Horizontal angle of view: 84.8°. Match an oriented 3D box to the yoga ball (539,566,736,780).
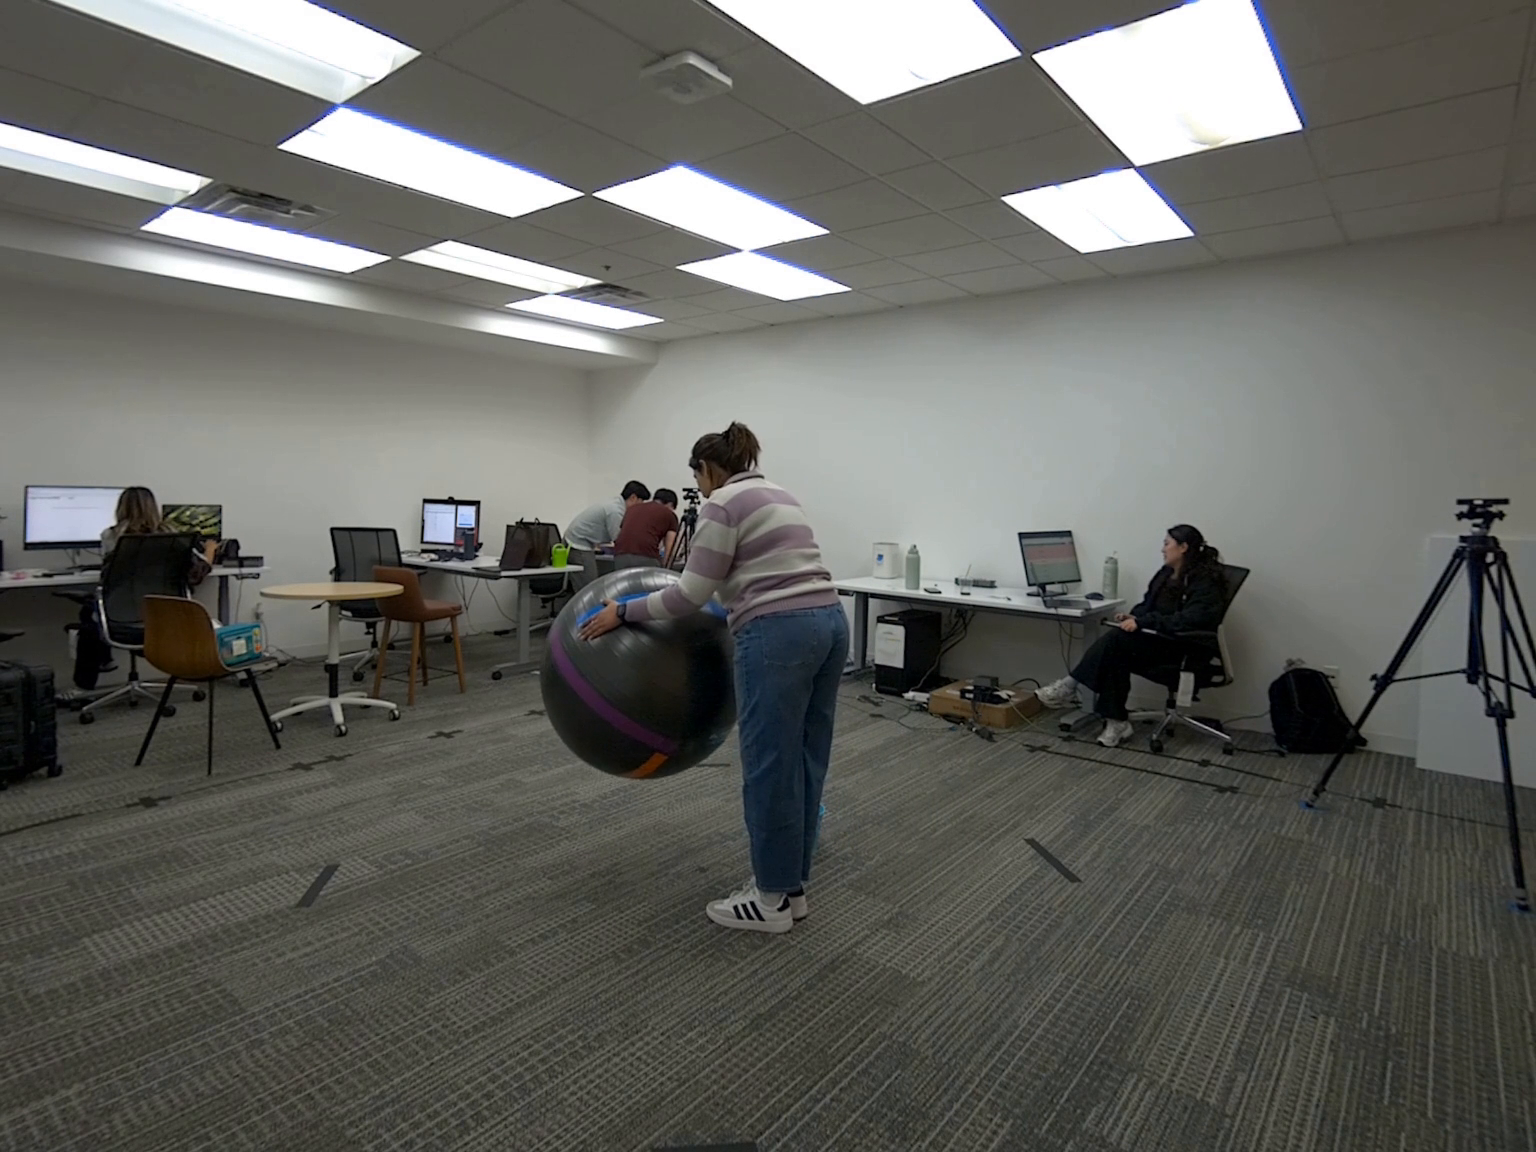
[{"bbox_3d":[-0.454,0.357,3.105,0.757,0.755,0.762,1,4,-2],"label":"yoga ball"}]
